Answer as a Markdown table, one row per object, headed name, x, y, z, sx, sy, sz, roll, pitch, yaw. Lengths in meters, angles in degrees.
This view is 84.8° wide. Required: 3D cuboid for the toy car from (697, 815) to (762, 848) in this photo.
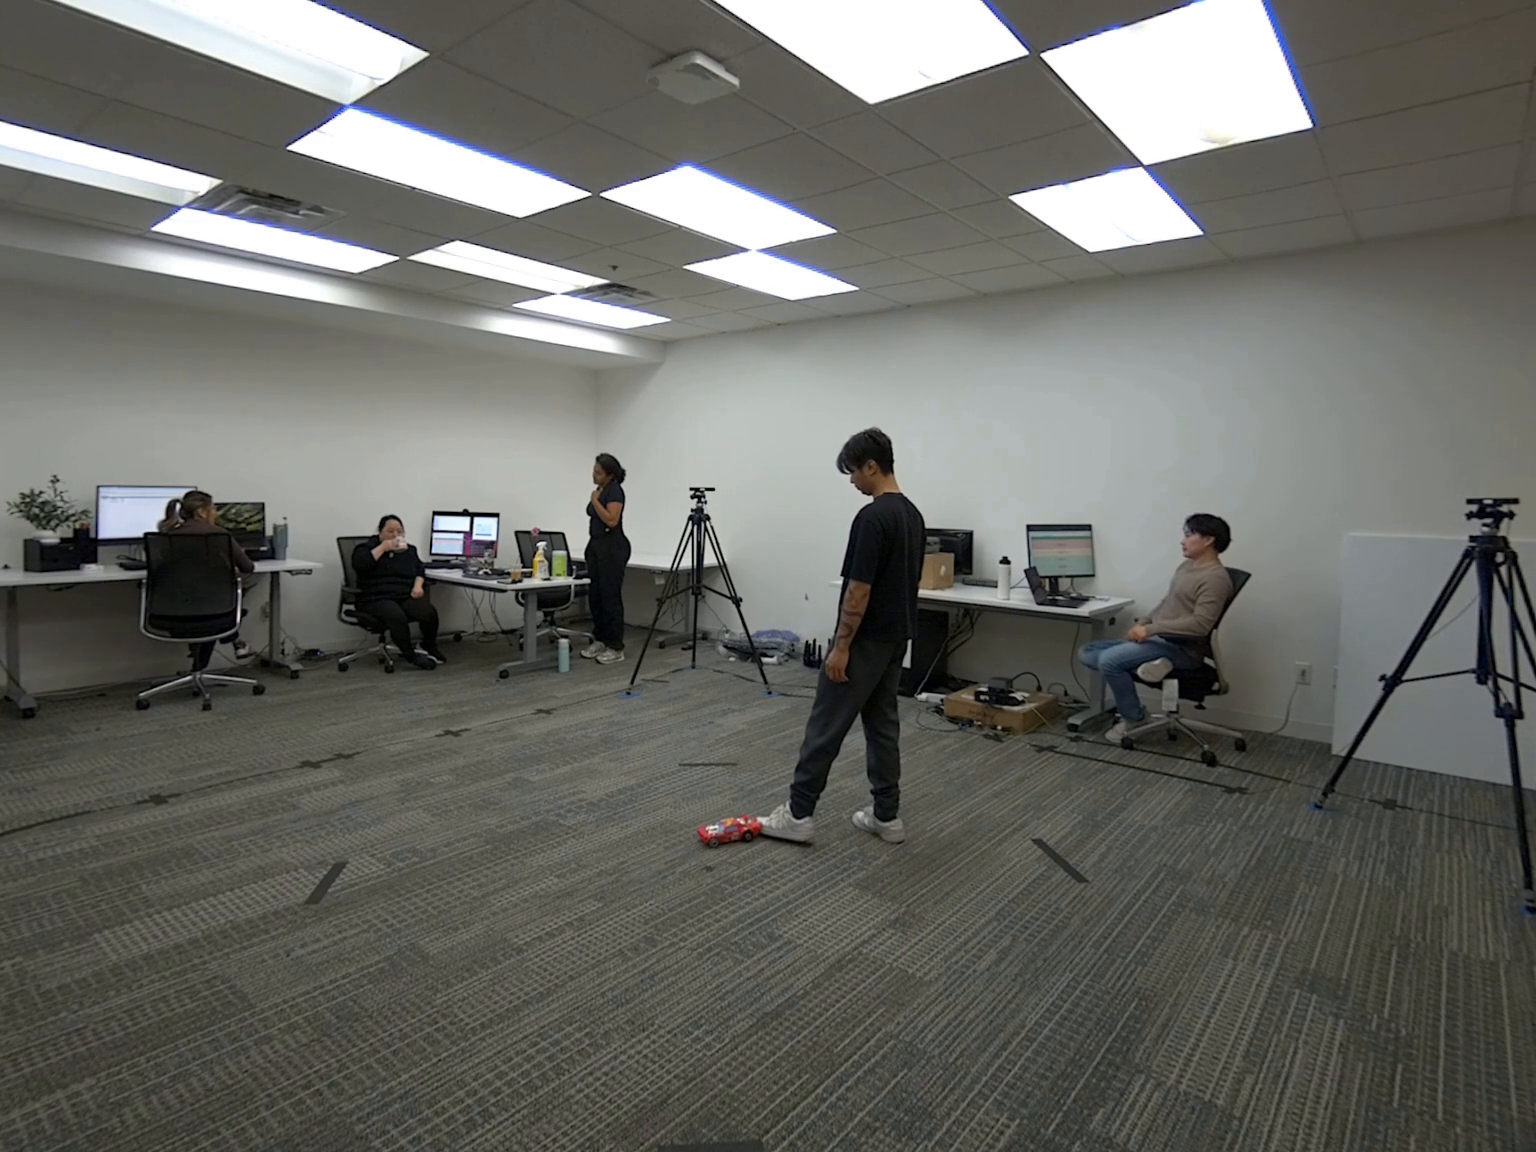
| name | x | y | z | sx | sy | sz | roll | pitch | yaw |
| --- | --- | --- | --- | --- | --- | --- | --- | --- | --- |
| toy car | -0.159 | 1.009 | 3.380 | 0.250 | 0.082 | 0.134 | -13 | 10 | -21 |
